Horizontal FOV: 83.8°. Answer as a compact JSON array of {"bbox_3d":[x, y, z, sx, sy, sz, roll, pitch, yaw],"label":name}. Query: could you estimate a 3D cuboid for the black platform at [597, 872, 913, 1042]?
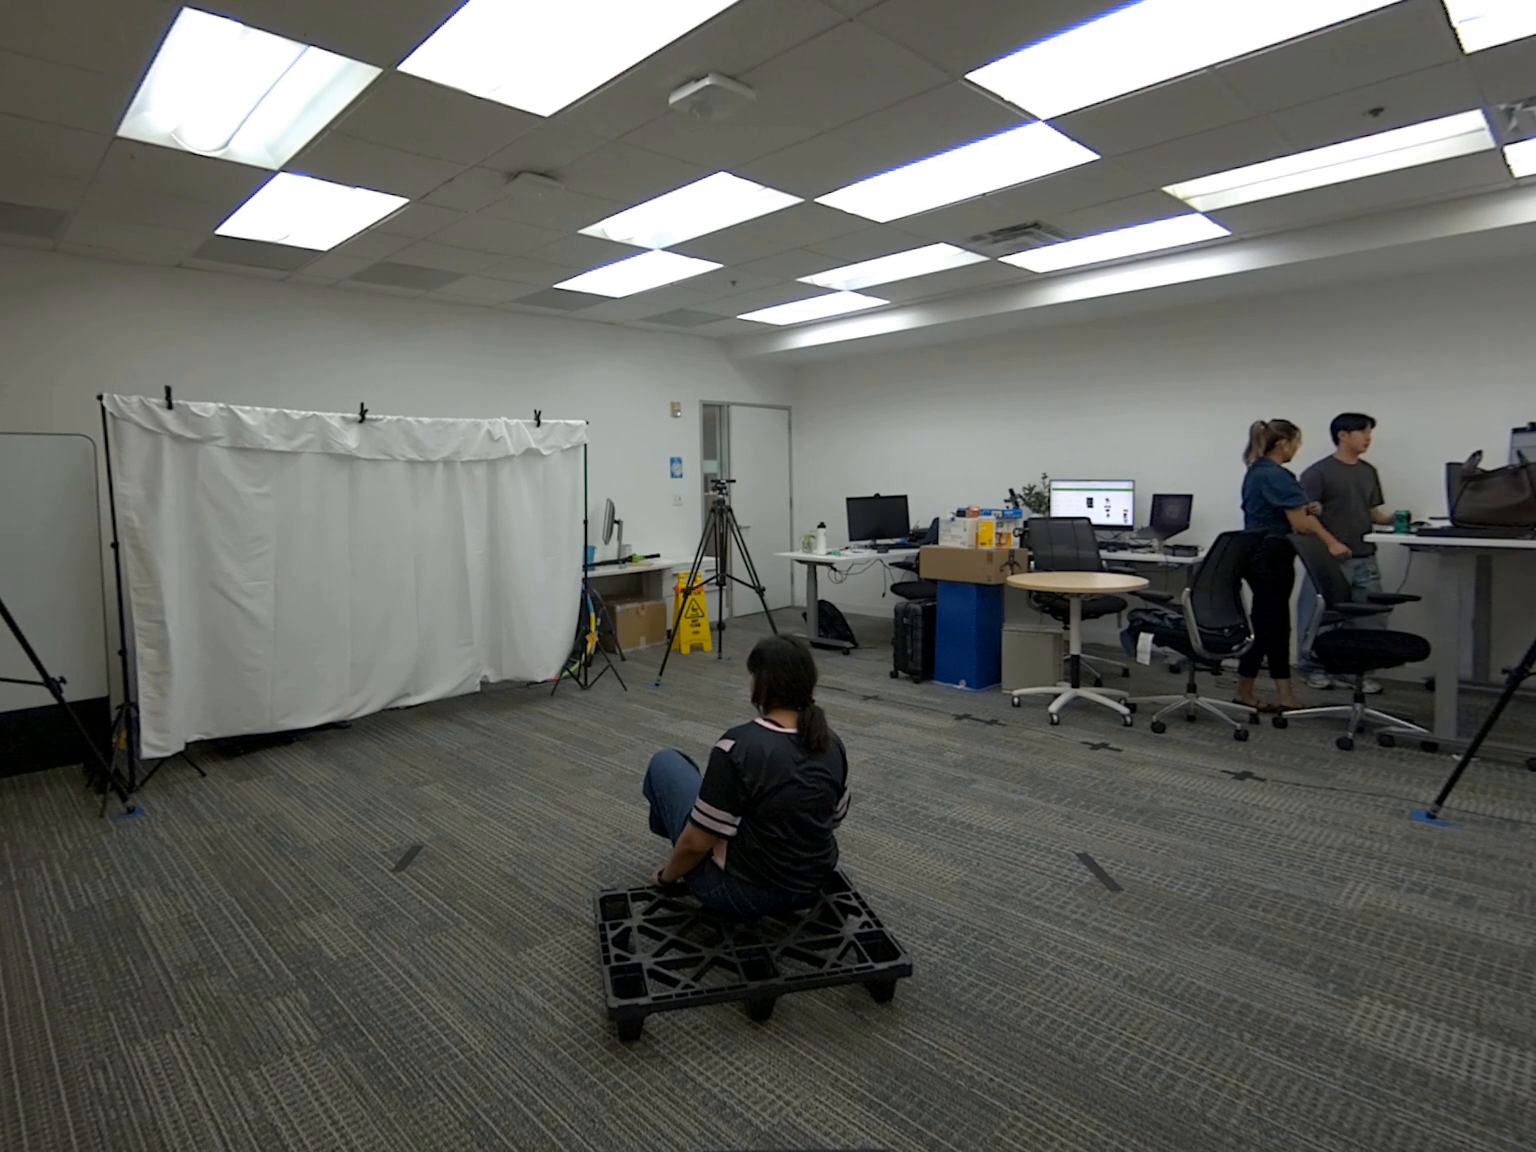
[{"bbox_3d":[-0.079,1.061,2.433,0.796,0.143,0.615,-2,6,-12],"label":"black platform"}]
